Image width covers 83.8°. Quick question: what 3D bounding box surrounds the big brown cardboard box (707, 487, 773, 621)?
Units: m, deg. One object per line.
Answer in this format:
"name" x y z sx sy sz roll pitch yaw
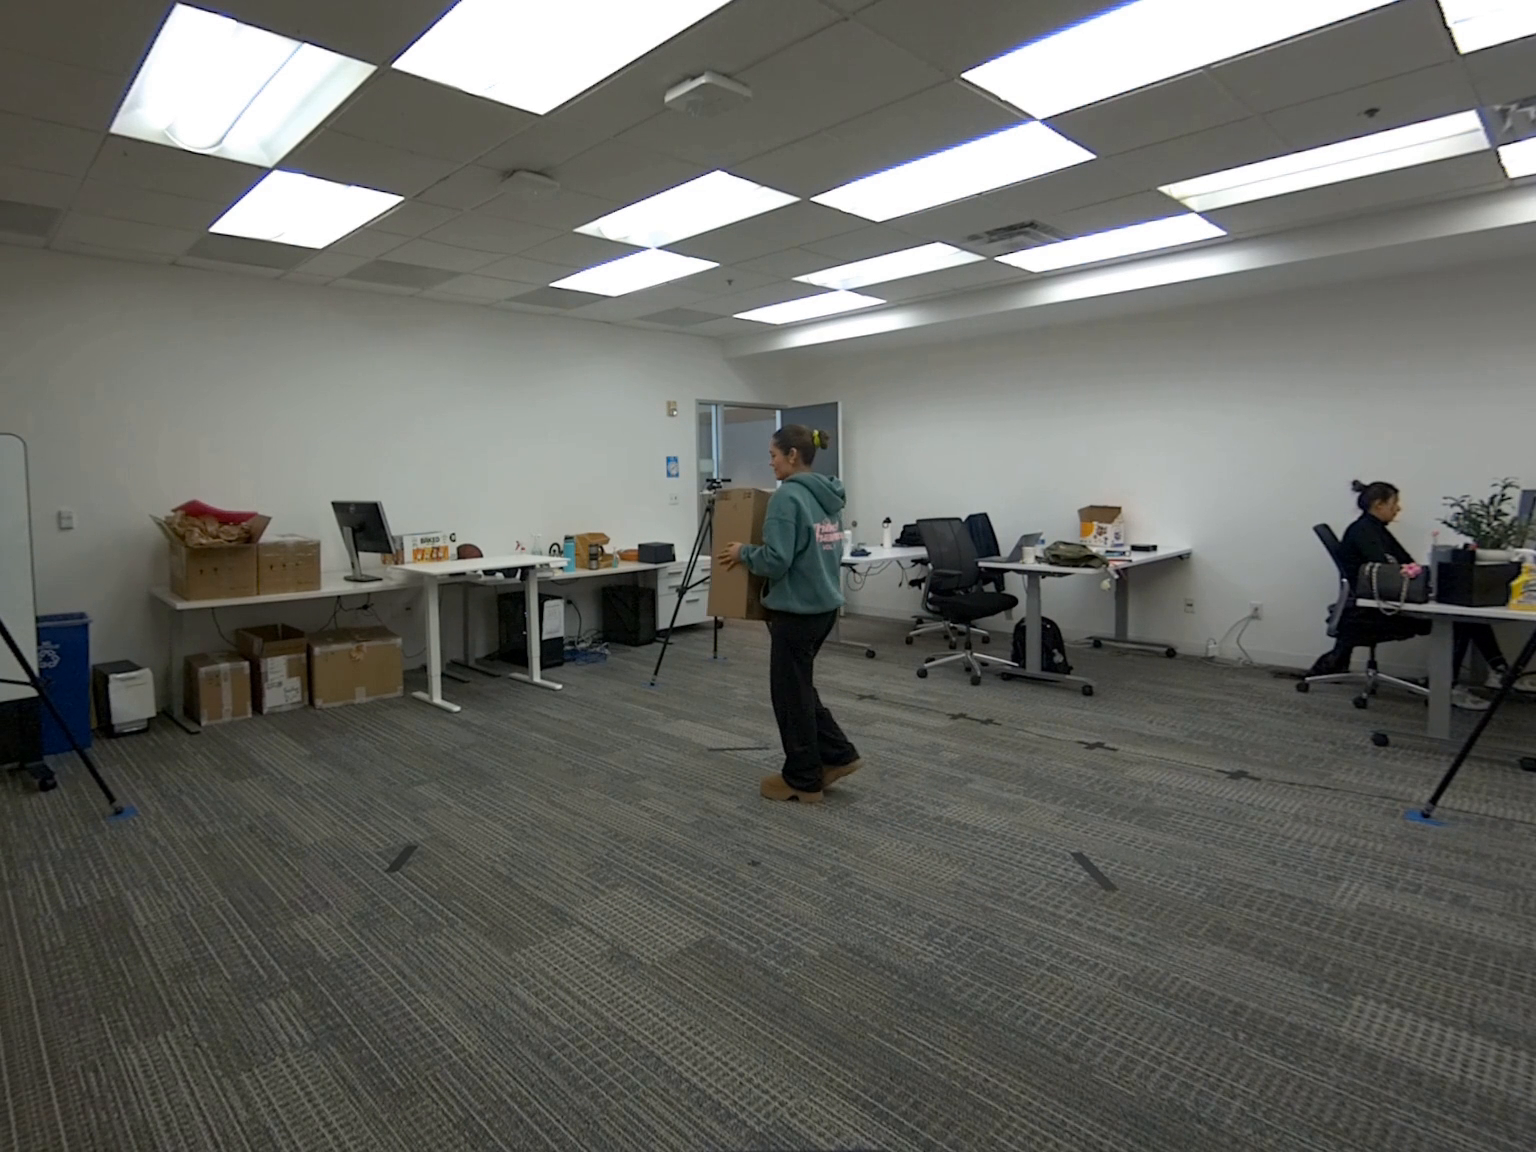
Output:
"big brown cardboard box" -0.043 -0.082 3.883 0.240 0.591 0.404 -1 -5 37
